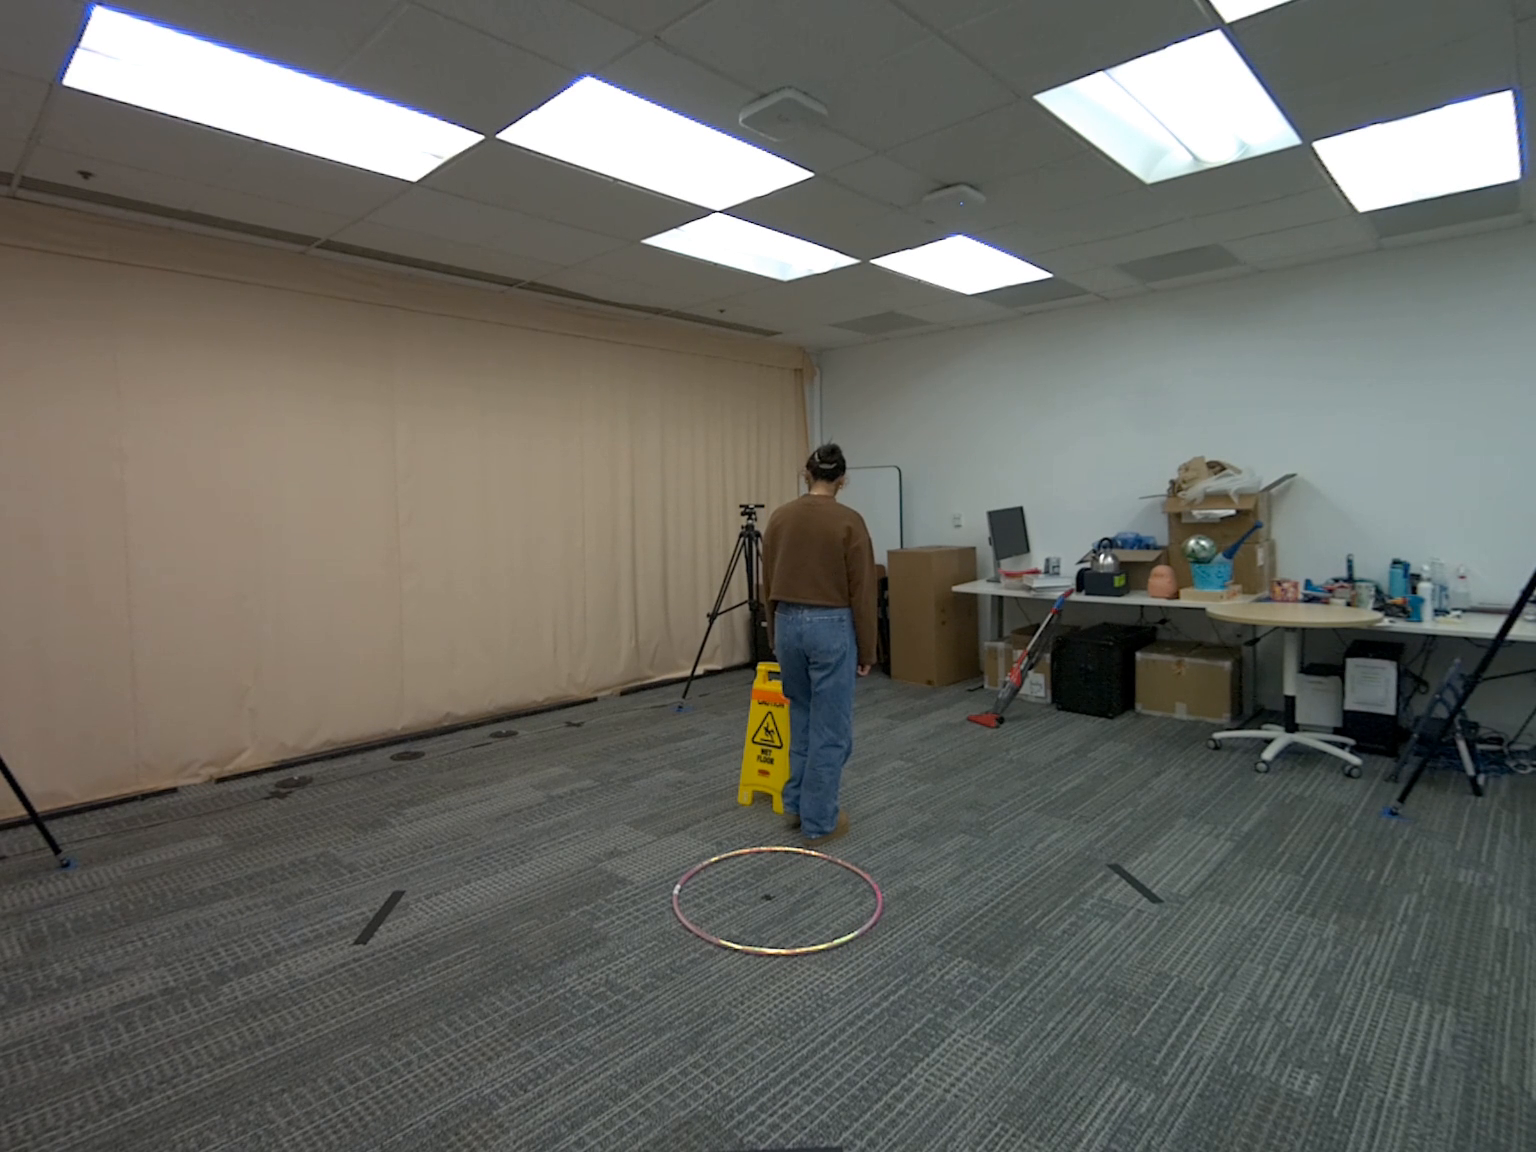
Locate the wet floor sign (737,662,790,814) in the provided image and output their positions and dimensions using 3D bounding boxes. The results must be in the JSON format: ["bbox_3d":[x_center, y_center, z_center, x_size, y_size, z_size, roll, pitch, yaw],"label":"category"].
[{"bbox_3d":[0.041,0.734,3.961,0.291,0.645,0.281,1,4,36],"label":"wet floor sign"}]
